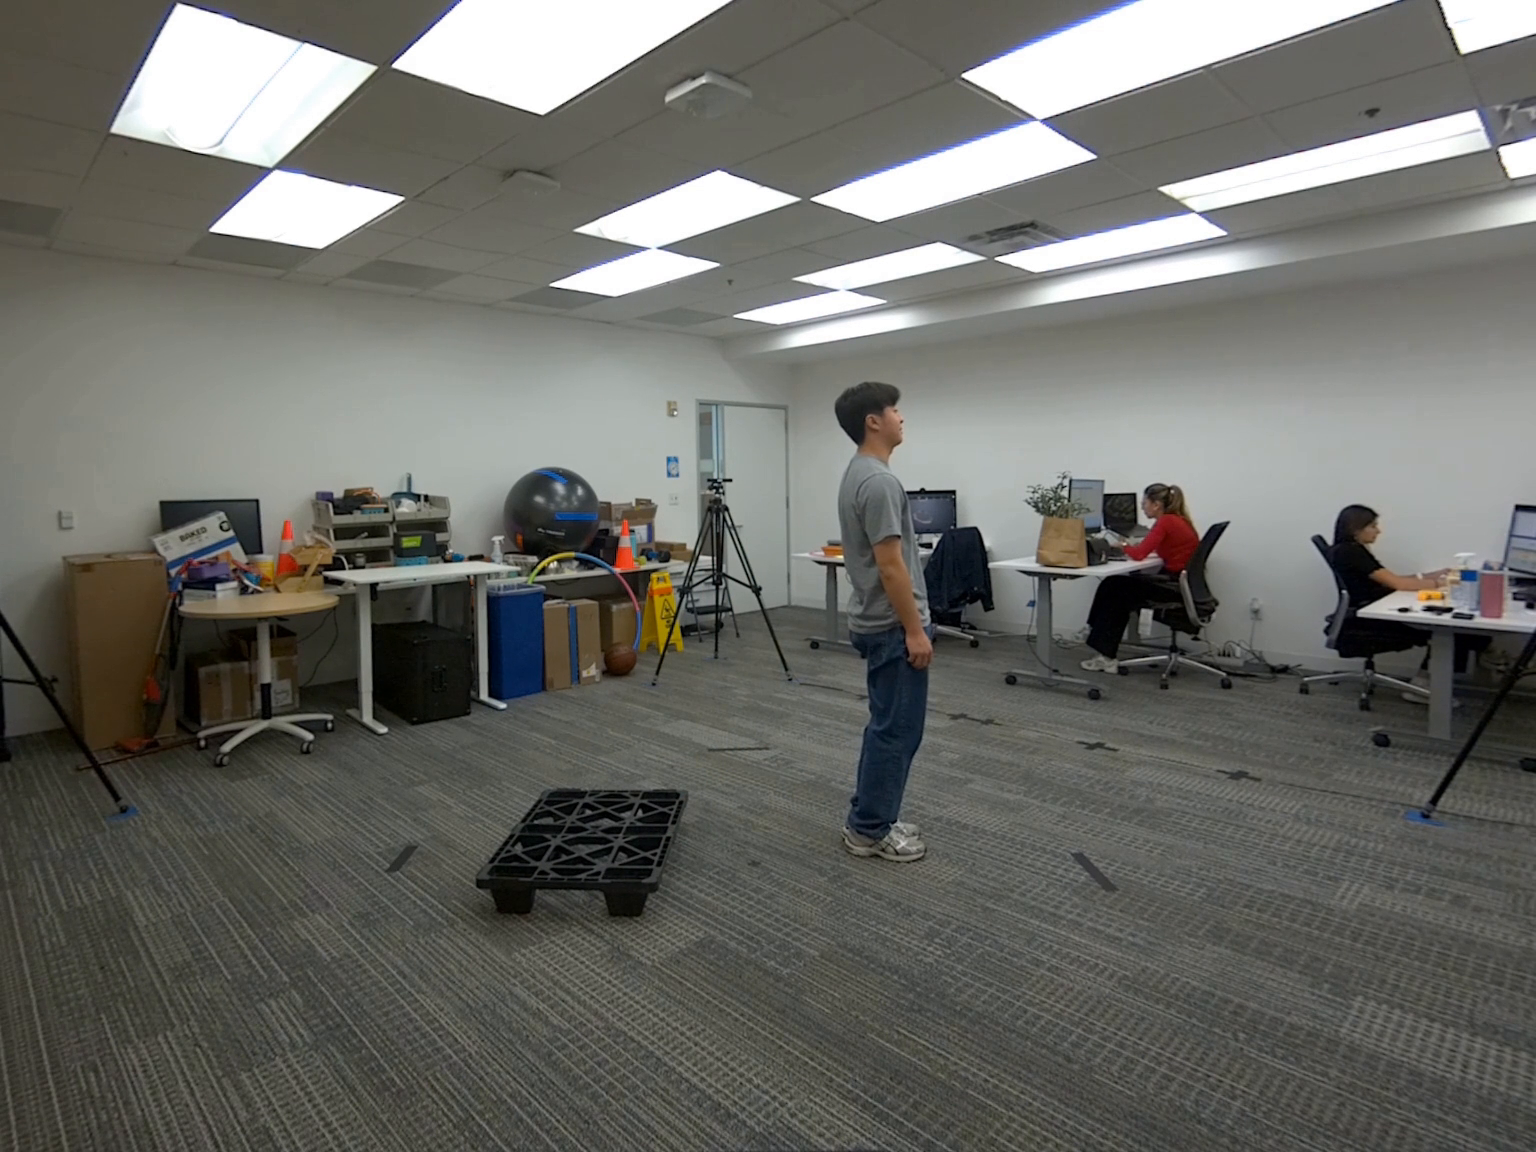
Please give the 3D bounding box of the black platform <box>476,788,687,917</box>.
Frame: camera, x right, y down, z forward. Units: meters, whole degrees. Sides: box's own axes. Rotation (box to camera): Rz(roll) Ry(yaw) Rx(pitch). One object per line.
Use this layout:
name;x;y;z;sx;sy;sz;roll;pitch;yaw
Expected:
black platform;-0.626;0.983;3.118;0.608;0.142;0.807;0;7;3
